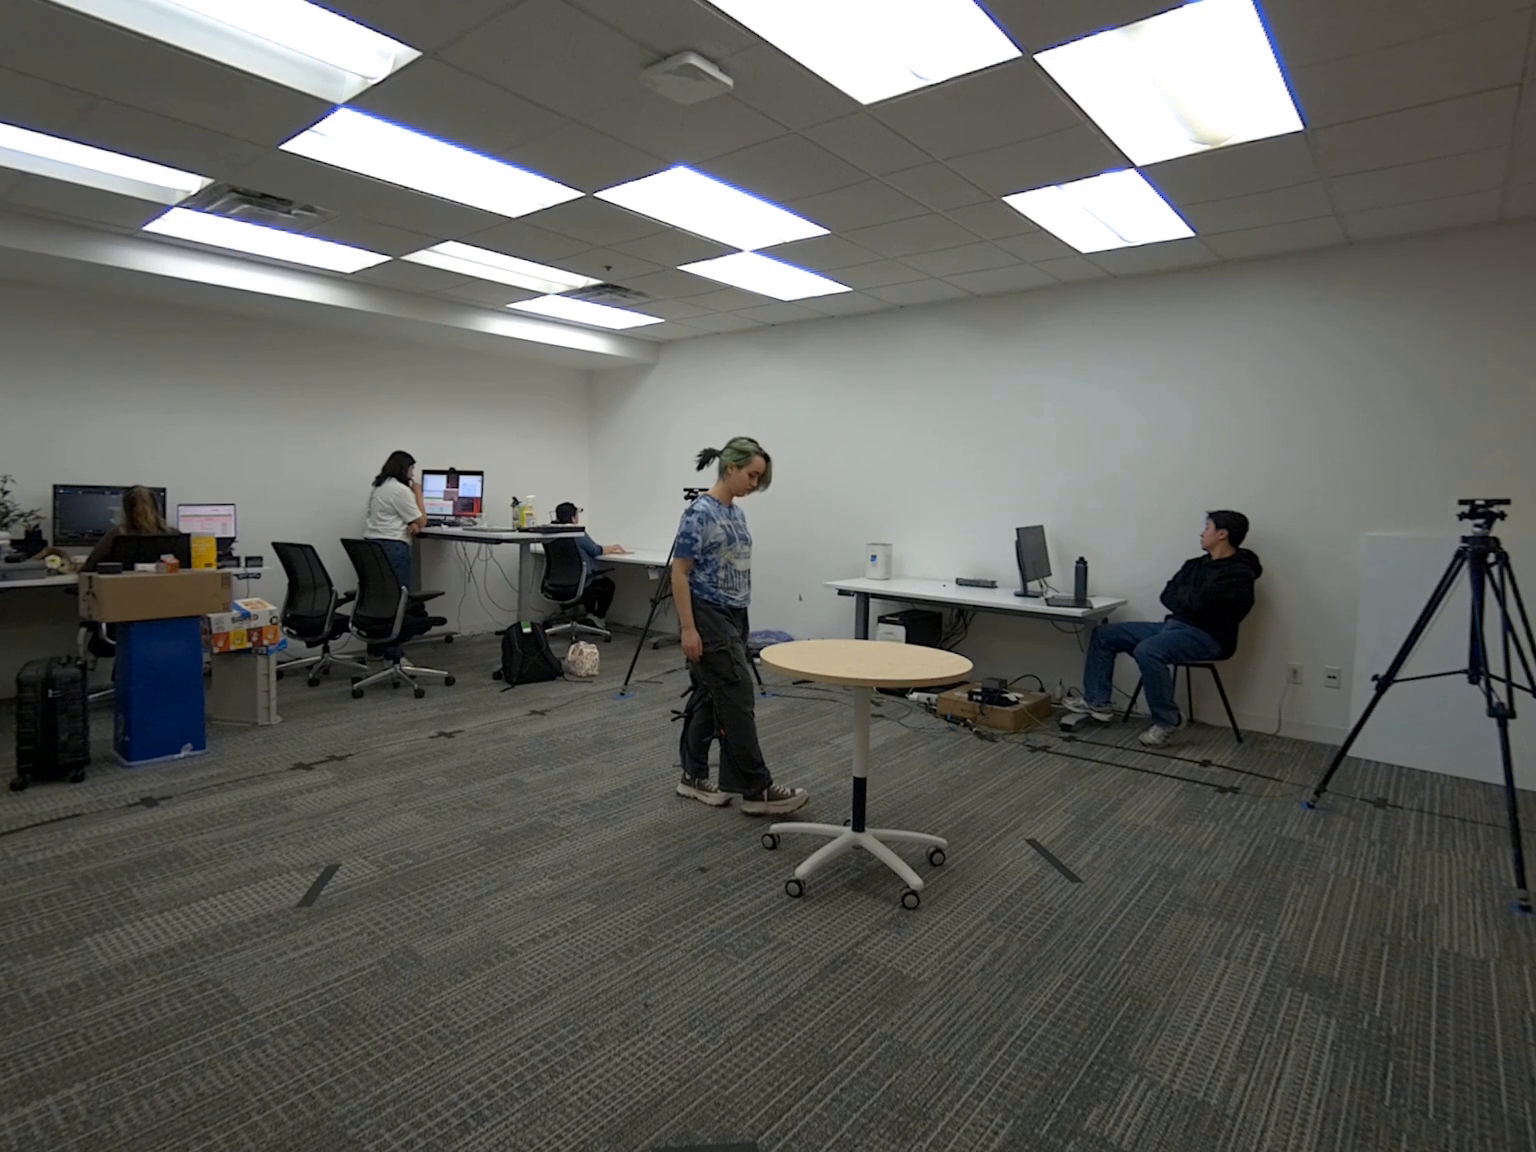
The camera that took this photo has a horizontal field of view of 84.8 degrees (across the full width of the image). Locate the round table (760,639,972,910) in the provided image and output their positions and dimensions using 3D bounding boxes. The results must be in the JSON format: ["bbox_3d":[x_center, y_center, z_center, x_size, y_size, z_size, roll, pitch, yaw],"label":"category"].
[{"bbox_3d":[0.328,0.689,3.140,0.763,0.791,0.768,1,4,-2],"label":"round table"}]
